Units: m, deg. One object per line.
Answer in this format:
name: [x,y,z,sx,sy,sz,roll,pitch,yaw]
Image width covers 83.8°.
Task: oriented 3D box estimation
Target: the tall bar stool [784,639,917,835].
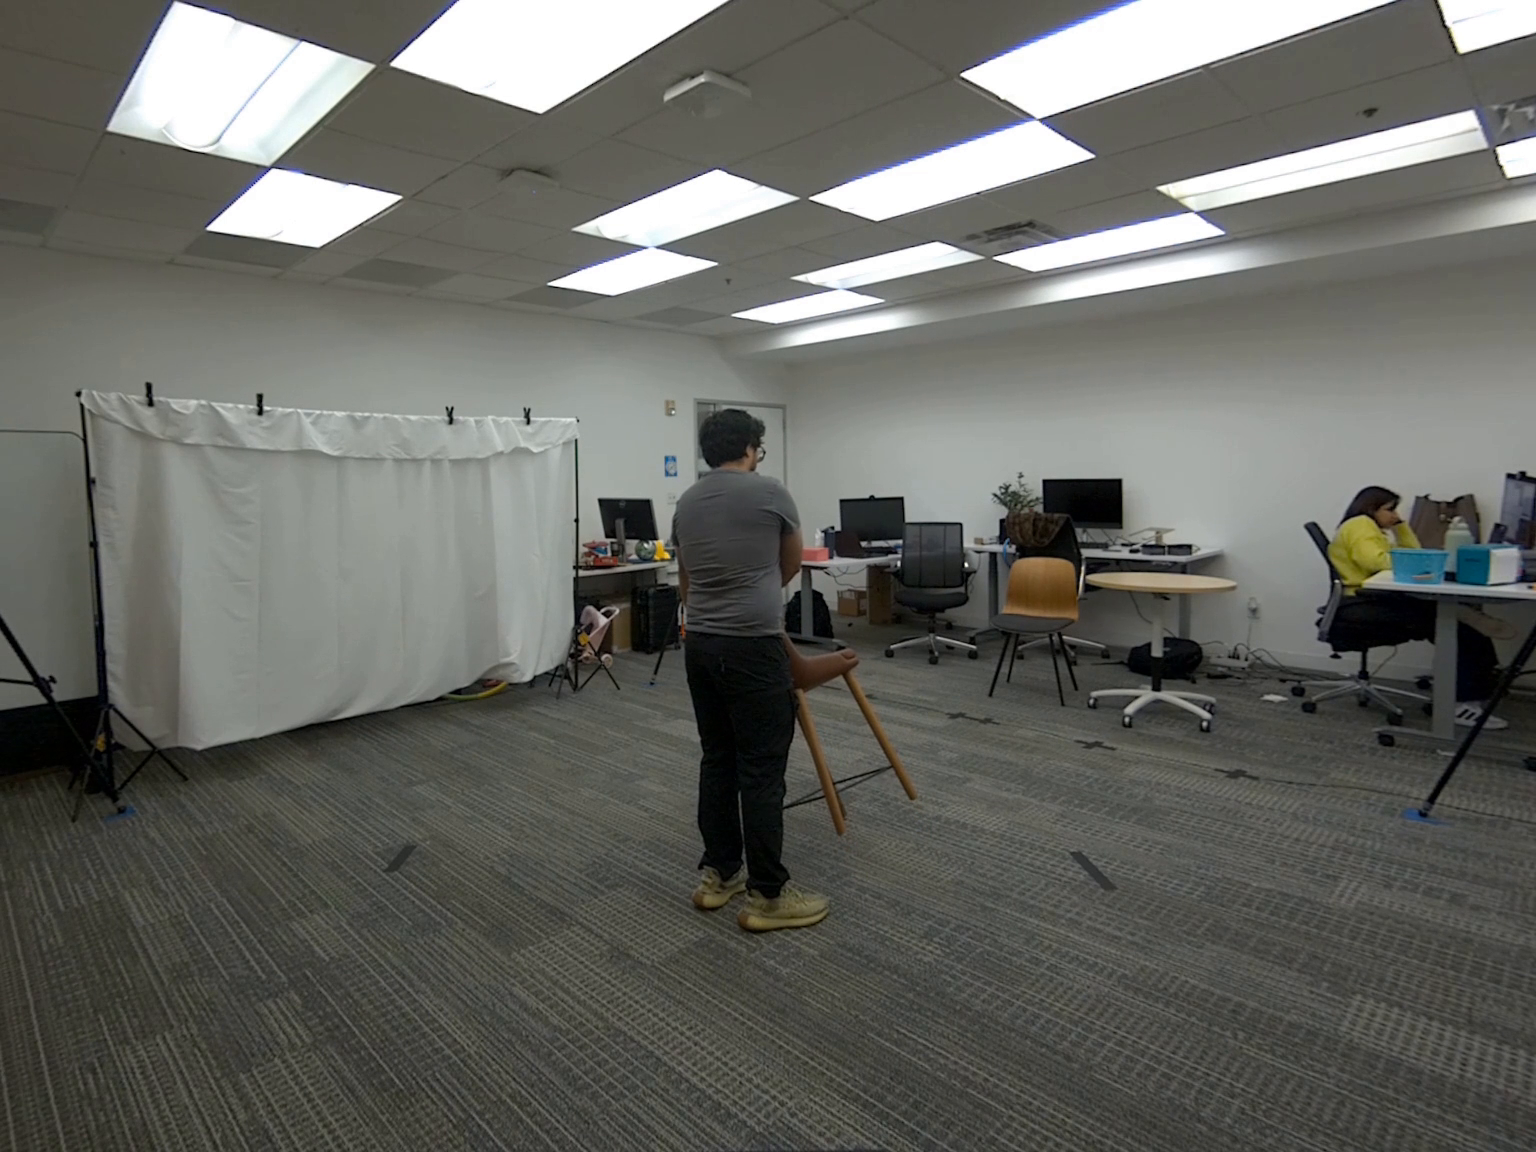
tall bar stool: [0.136,0.541,3.326,0.456,0.903,0.461,-10,-16,-45]
